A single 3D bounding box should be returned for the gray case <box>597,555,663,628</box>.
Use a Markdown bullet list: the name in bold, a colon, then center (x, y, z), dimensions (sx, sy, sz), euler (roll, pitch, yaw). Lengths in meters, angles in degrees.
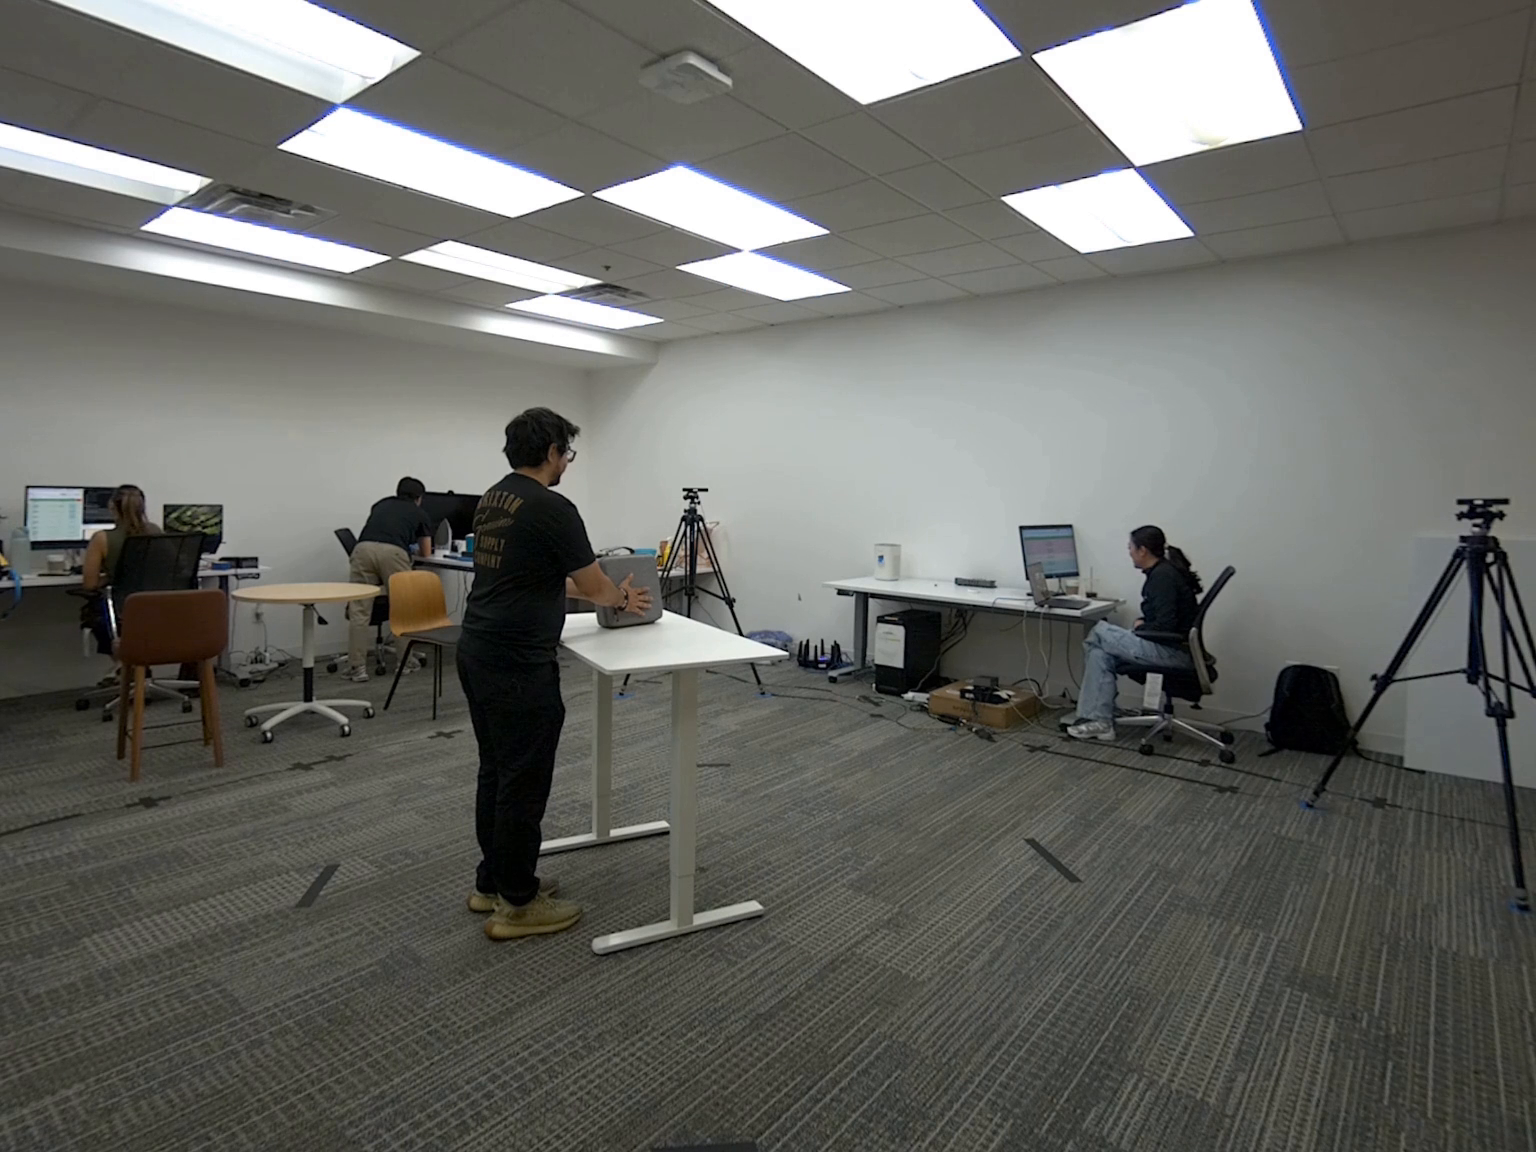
- **gray case**: center (-0.531, 0.048, 3.136), dimensions (0.249, 0.262, 0.107), euler (-5, -6, -43)
